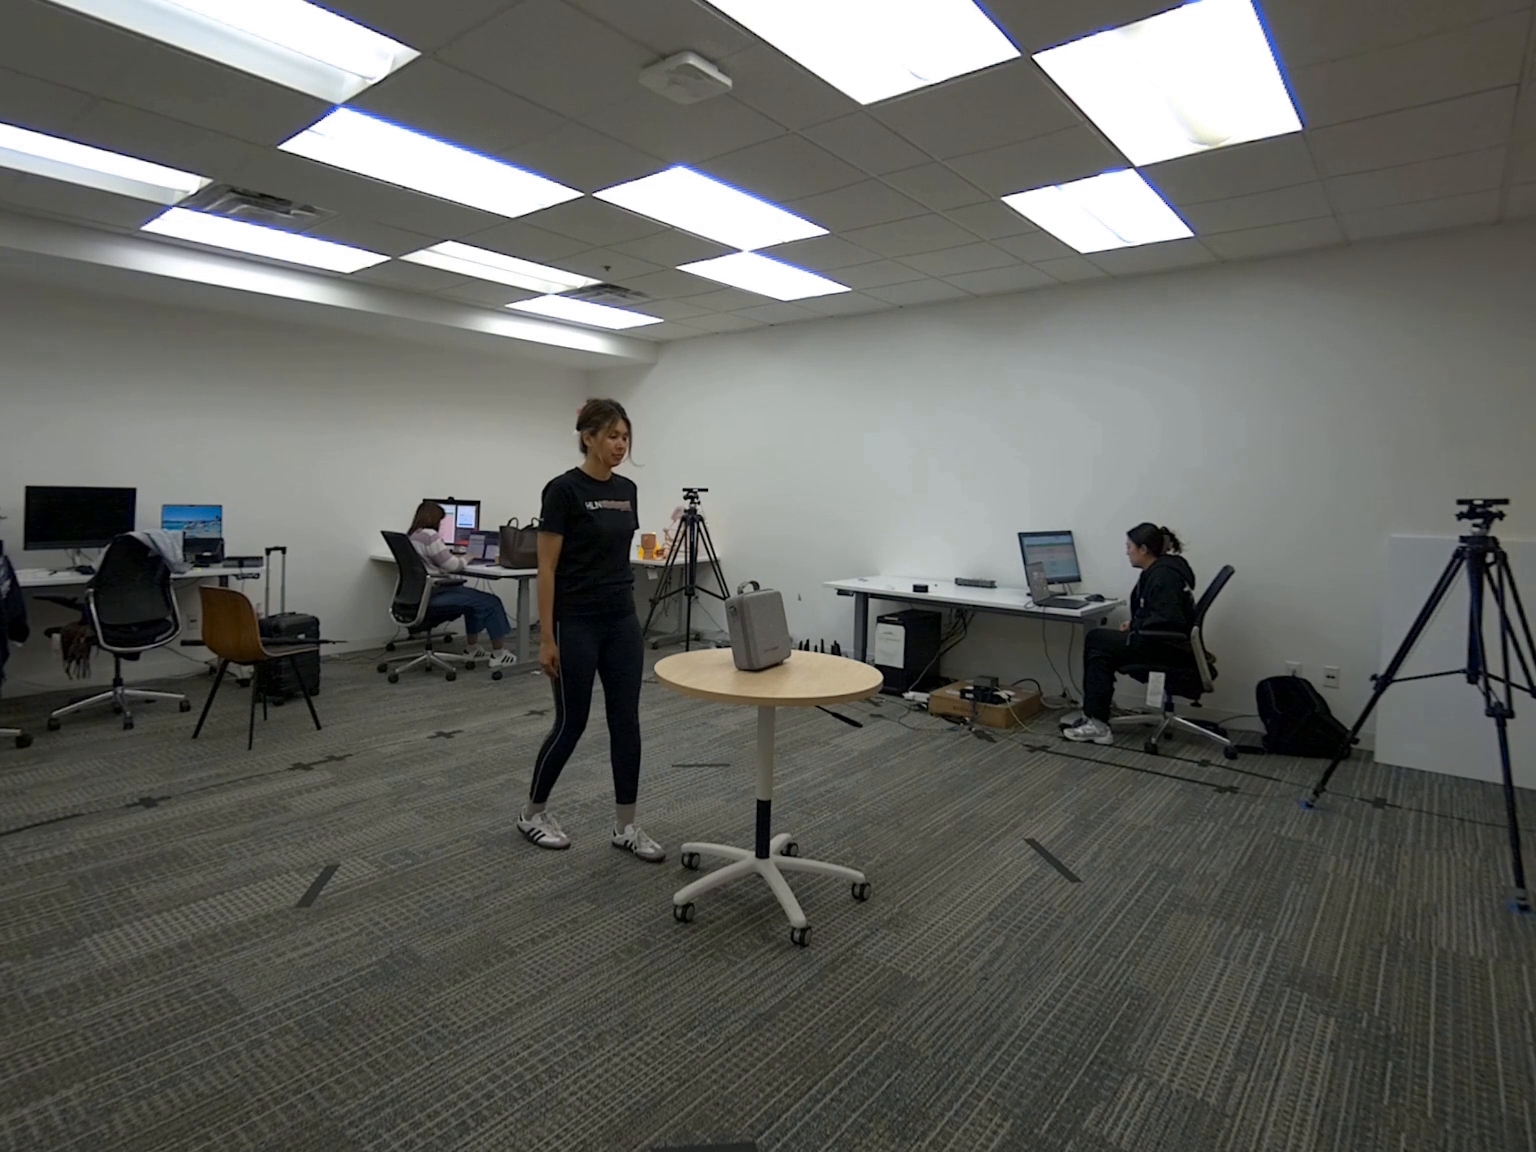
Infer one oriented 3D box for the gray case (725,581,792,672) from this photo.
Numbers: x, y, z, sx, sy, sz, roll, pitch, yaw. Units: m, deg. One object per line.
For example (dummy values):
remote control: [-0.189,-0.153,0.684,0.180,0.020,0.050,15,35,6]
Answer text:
gray case: [-0.041,0.174,2.926,0.106,0.262,0.250,-12,-4,29]
